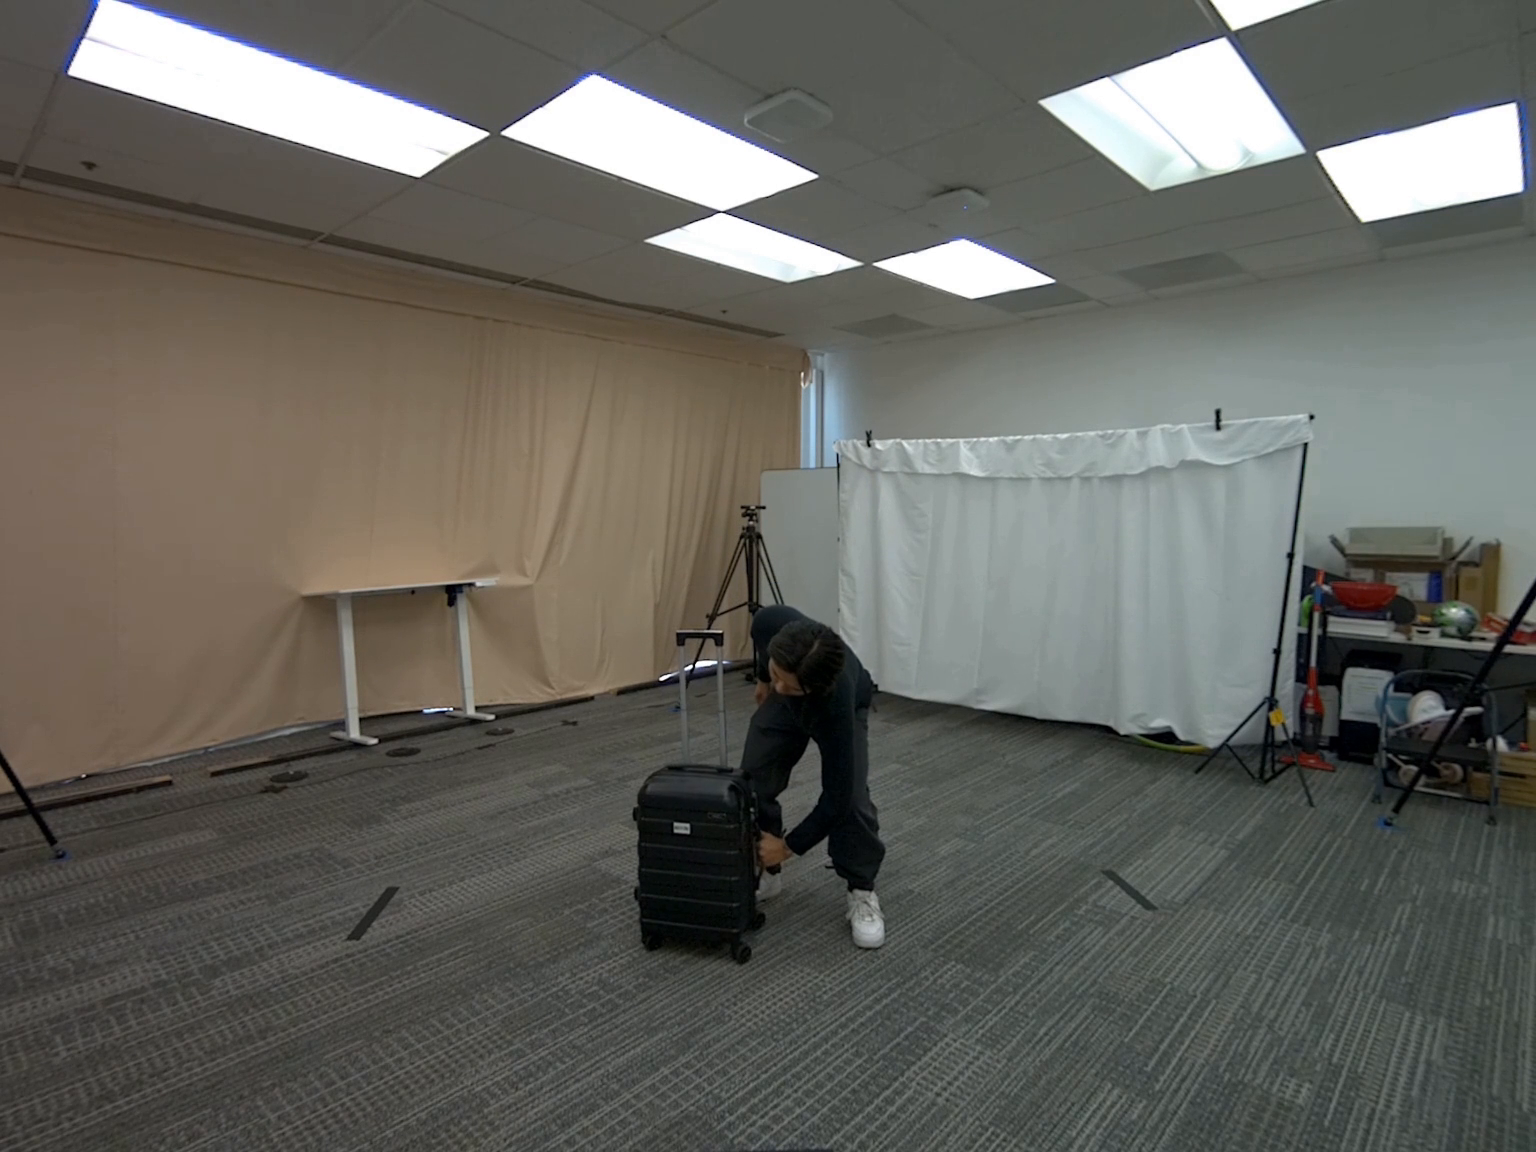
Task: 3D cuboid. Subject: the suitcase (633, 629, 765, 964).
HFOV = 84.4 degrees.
[{"bbox_3d":[-0.231,0.691,2.668,0.388,0.976,0.255,-1,4,10],"label":"suitcase"}]
